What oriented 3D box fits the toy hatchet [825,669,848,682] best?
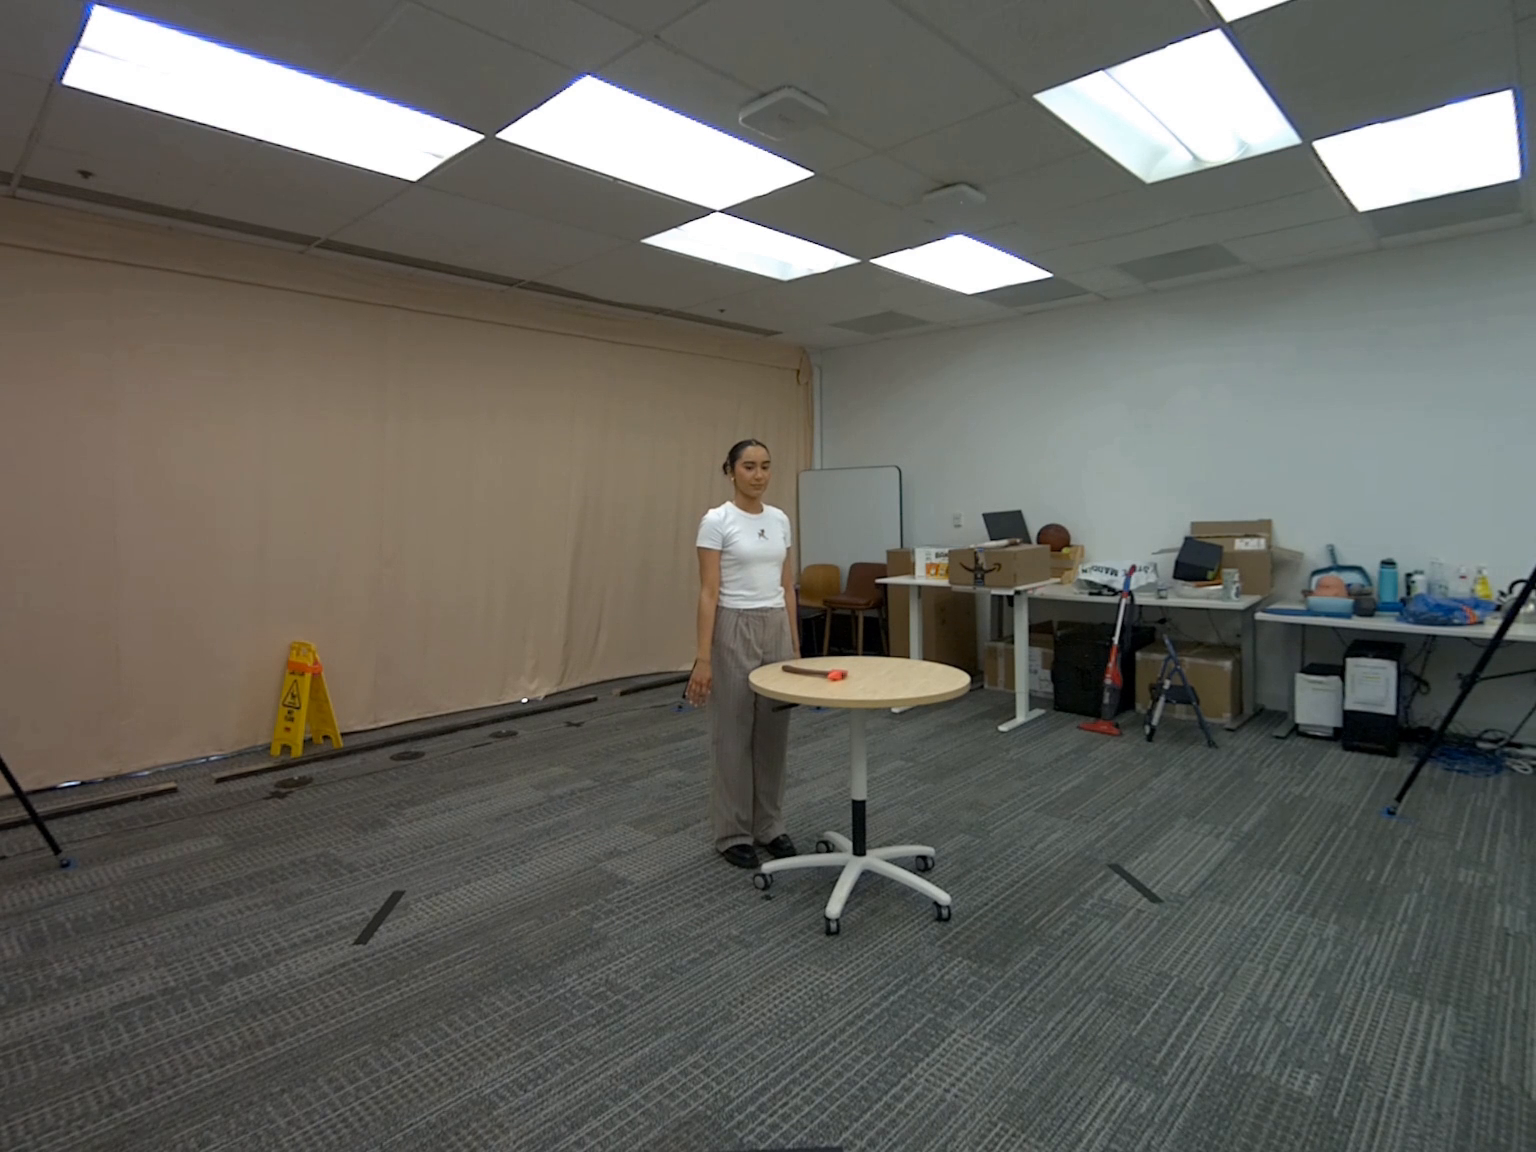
[{"bbox_3d":[0.180,0.339,3.000,0.127,0.029,0.278,-4,4,-37],"label":"toy hatchet"}]
